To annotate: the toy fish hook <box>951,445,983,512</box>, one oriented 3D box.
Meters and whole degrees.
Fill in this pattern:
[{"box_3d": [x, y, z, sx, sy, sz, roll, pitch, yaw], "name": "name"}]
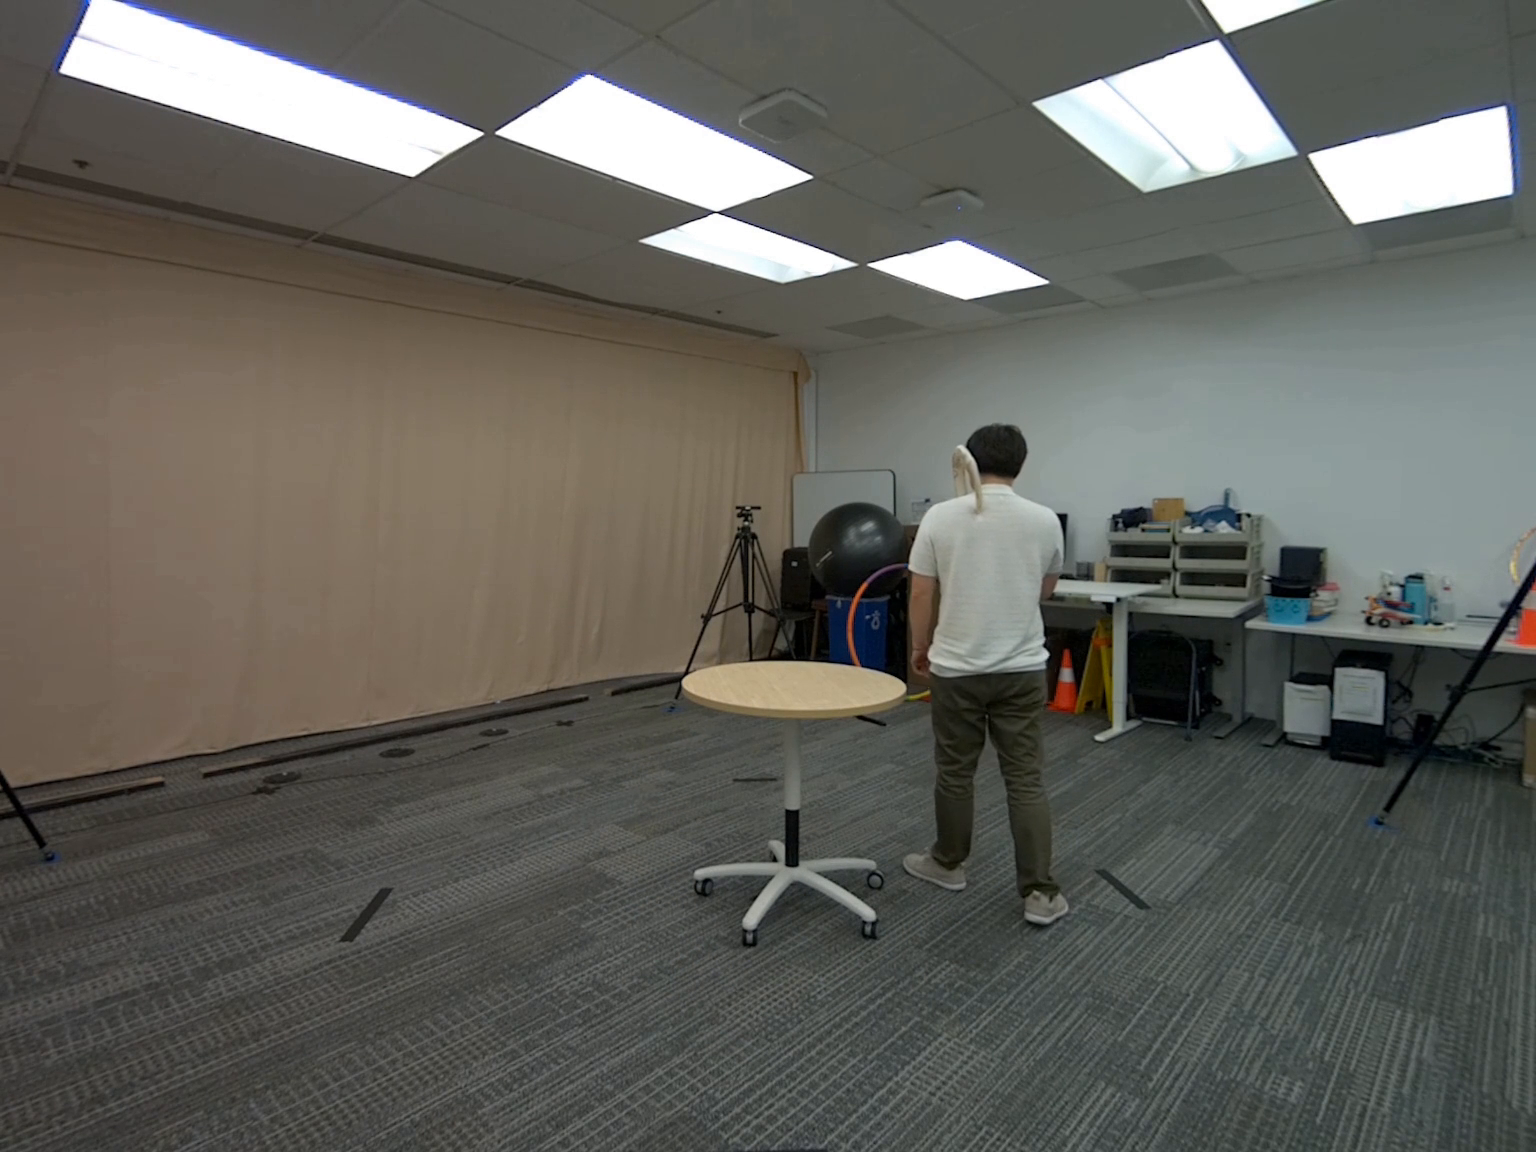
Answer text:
[{"box_3d": [0.722, -0.221, 2.966, 0.048, 0.494, 0.229, -13, 37, 2], "name": "toy fish hook"}]
